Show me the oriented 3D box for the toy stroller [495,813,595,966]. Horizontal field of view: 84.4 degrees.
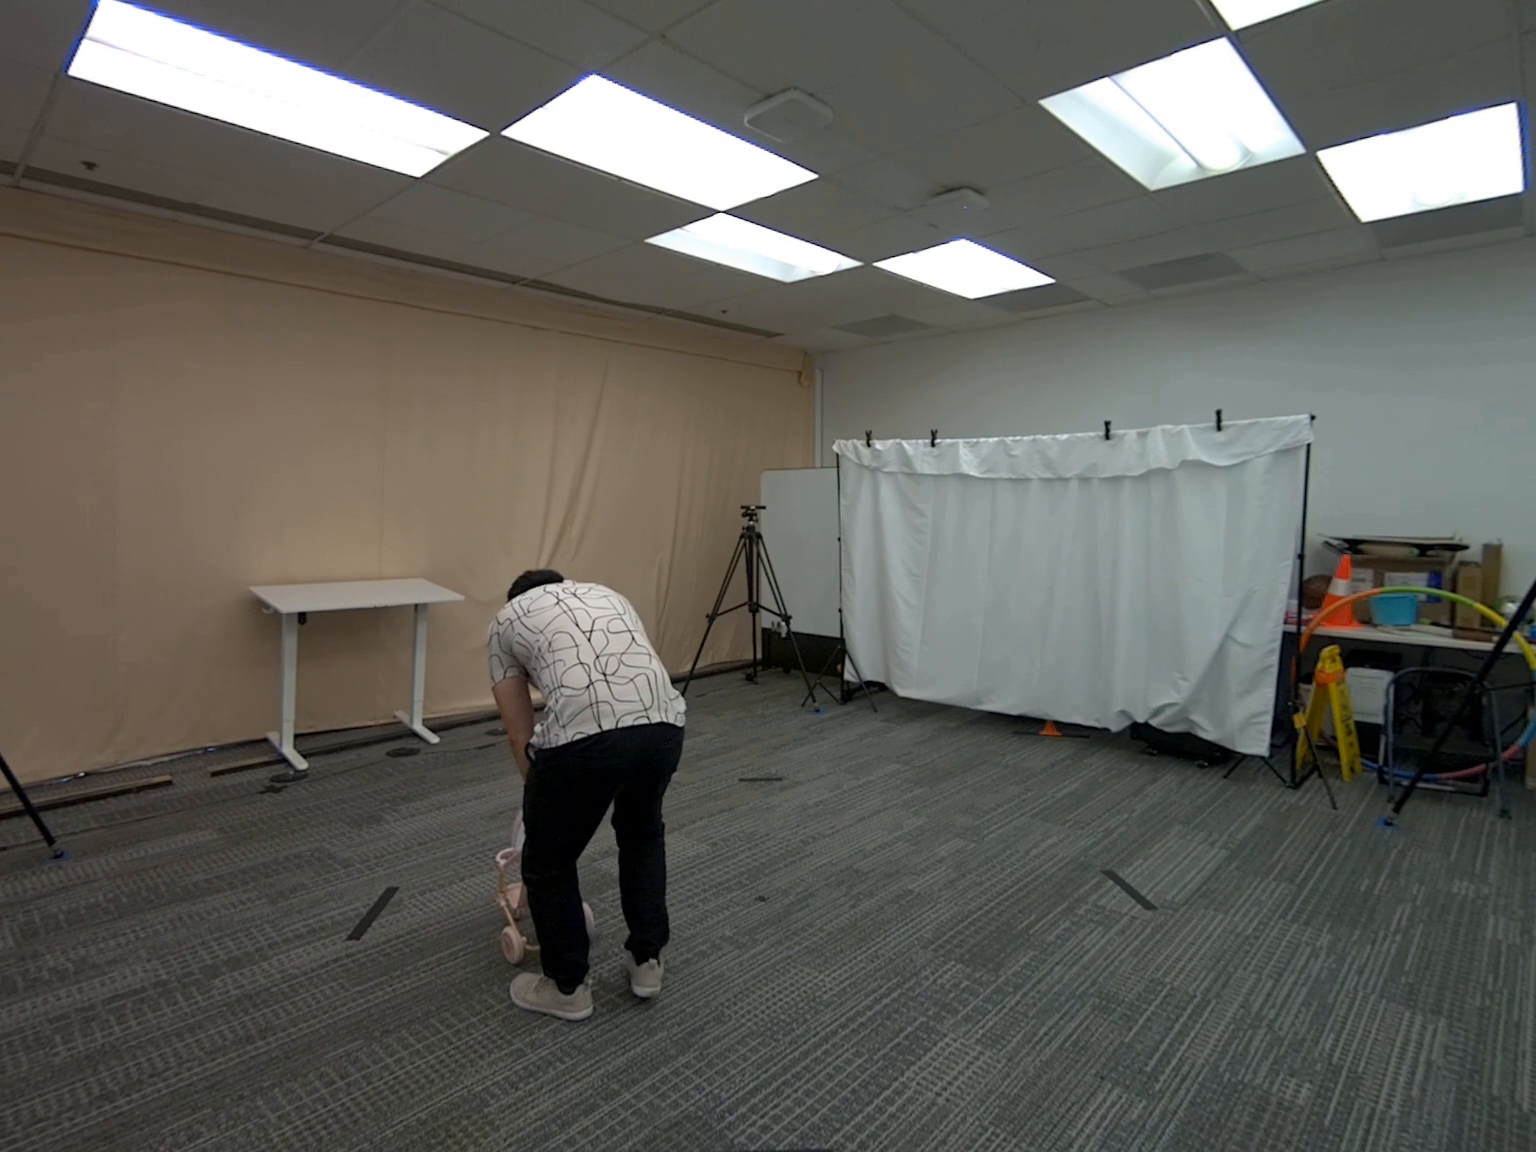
[{"bbox_3d":[-0.728,0.949,2.691,0.273,0.531,0.354,-1,19,-35],"label":"toy stroller"}]
